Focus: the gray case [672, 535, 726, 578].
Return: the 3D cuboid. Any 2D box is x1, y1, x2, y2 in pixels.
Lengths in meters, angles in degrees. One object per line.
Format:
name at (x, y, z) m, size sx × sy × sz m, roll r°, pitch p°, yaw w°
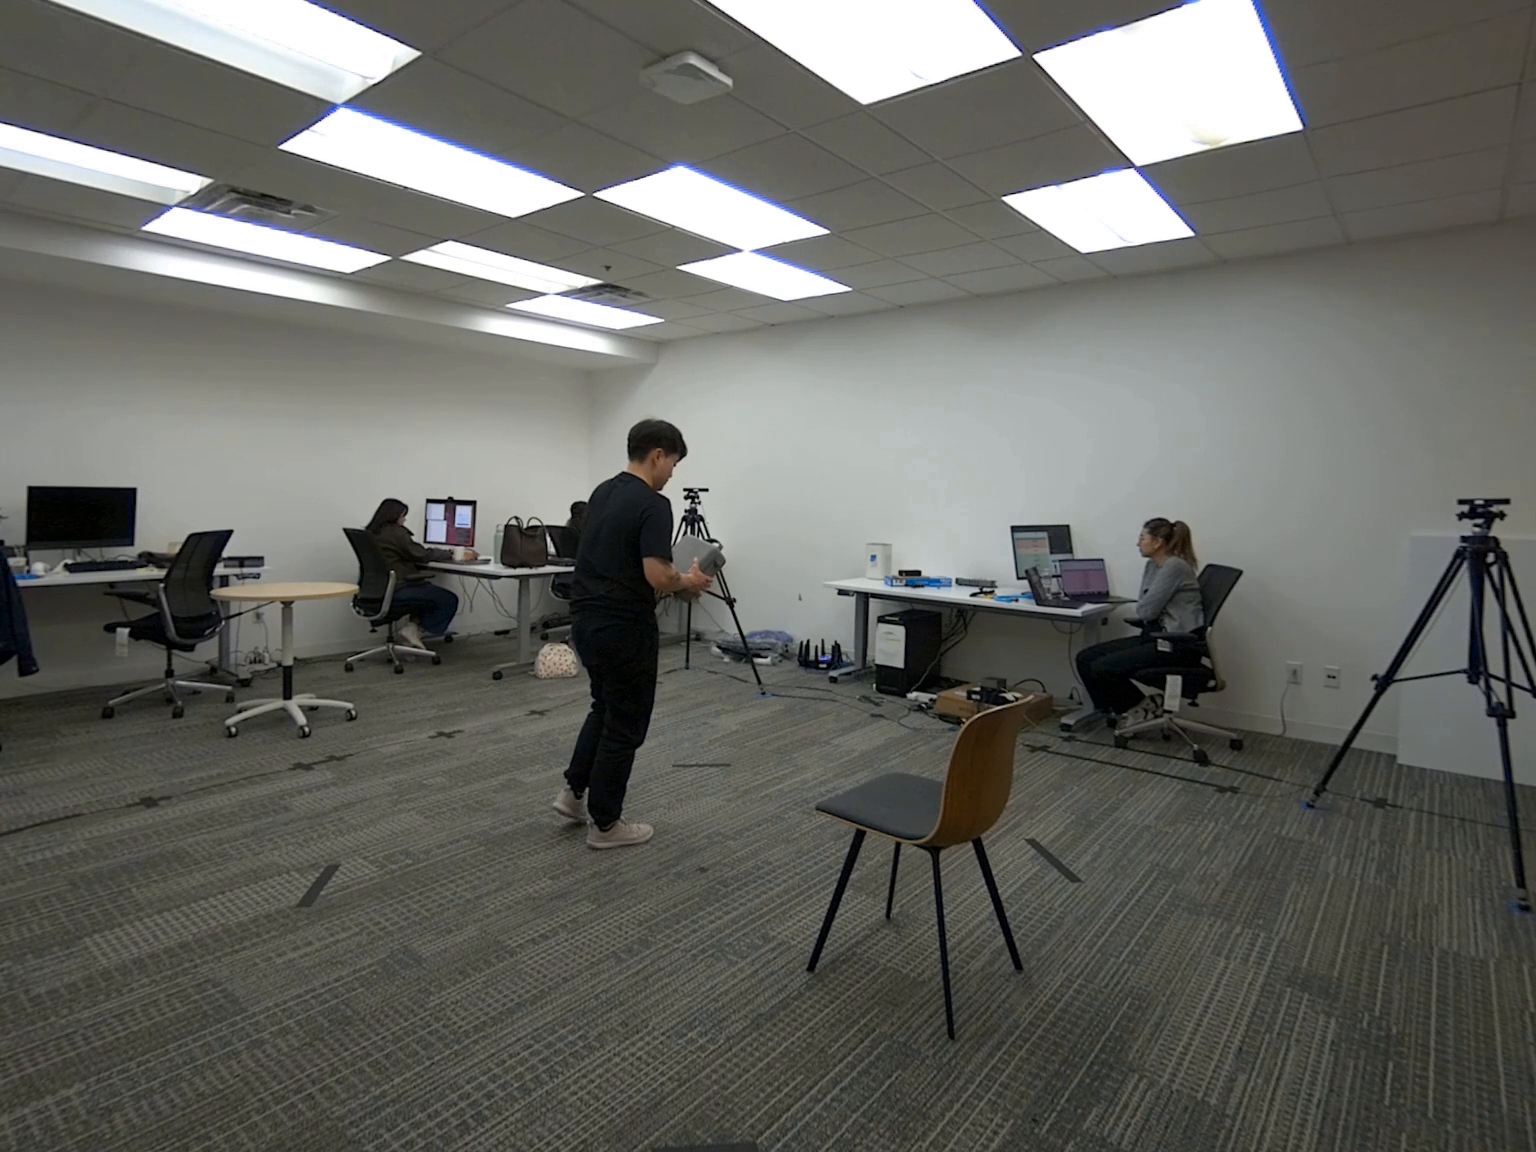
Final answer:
gray case at (-0.330, -0.040, 3.462) m, size 0.260 × 0.100 × 0.267 m, roll -46°, pitch 35°, yaw -15°
